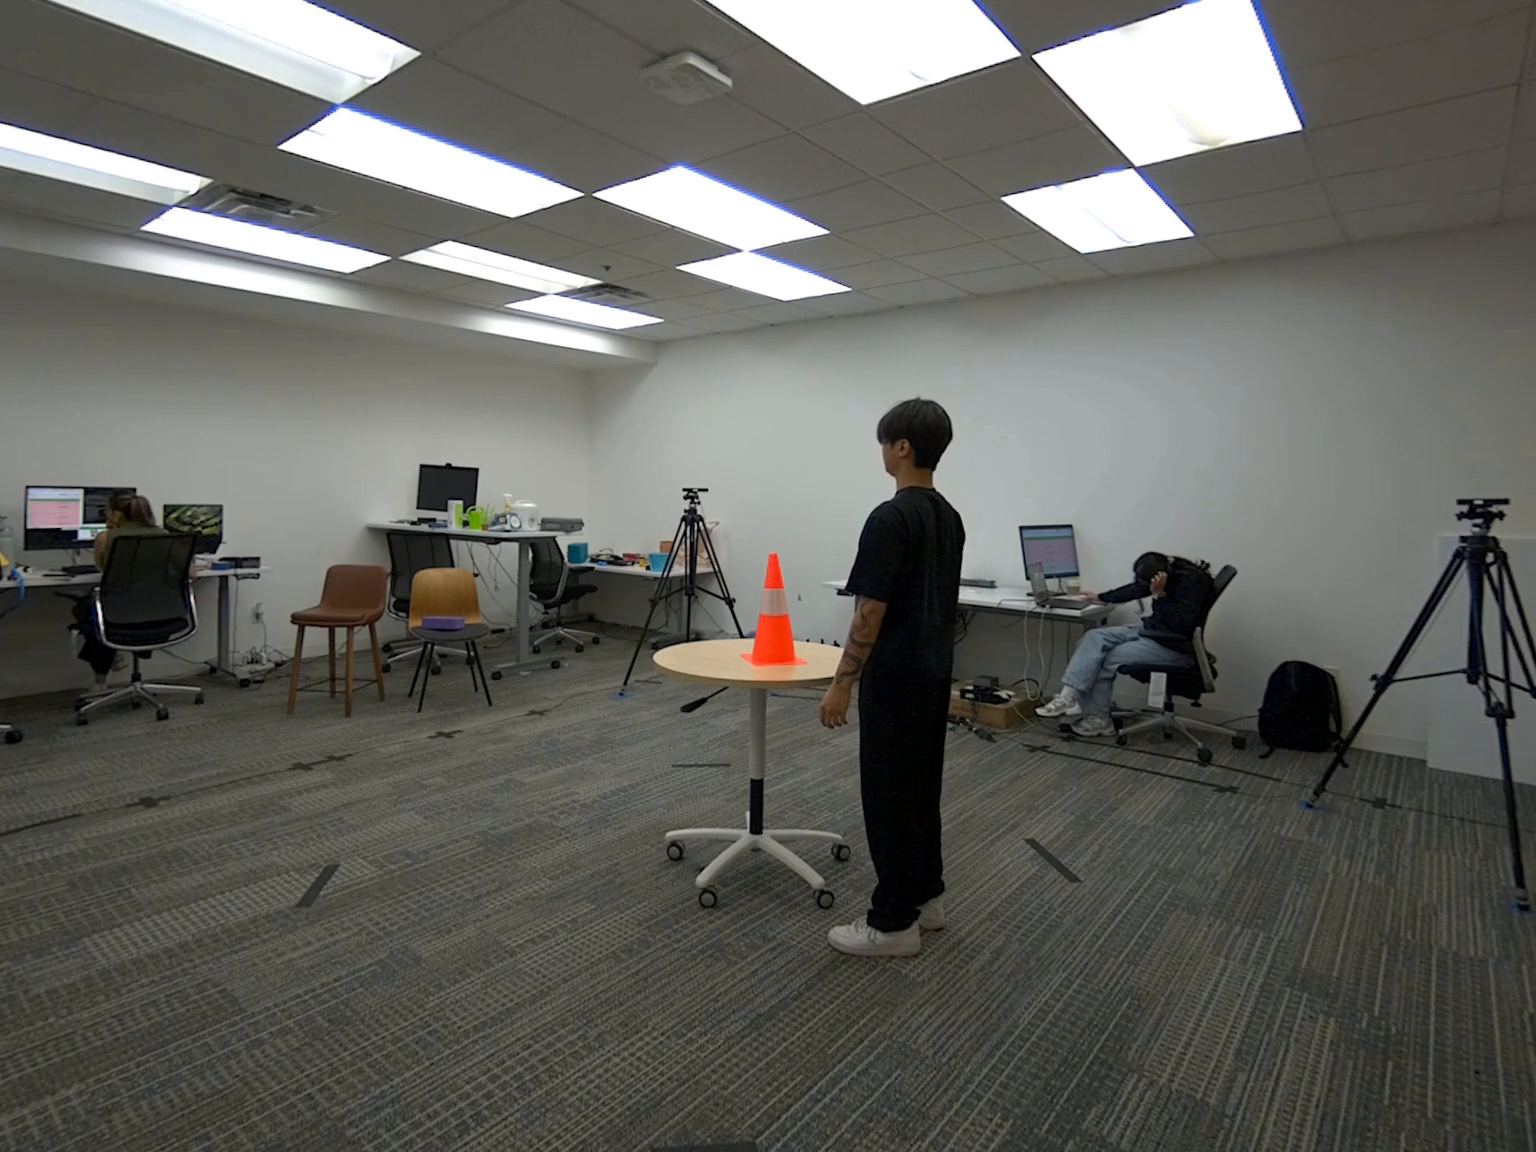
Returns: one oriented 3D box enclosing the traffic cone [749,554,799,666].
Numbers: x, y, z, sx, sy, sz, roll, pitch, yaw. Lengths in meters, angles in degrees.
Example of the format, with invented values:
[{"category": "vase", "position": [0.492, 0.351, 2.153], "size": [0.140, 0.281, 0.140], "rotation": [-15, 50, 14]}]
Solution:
[{"category": "traffic cone", "position": [0.010, 0.109, 3.025], "size": [0.202, 0.382, 0.207], "rotation": [-2, 3, -16]}]
